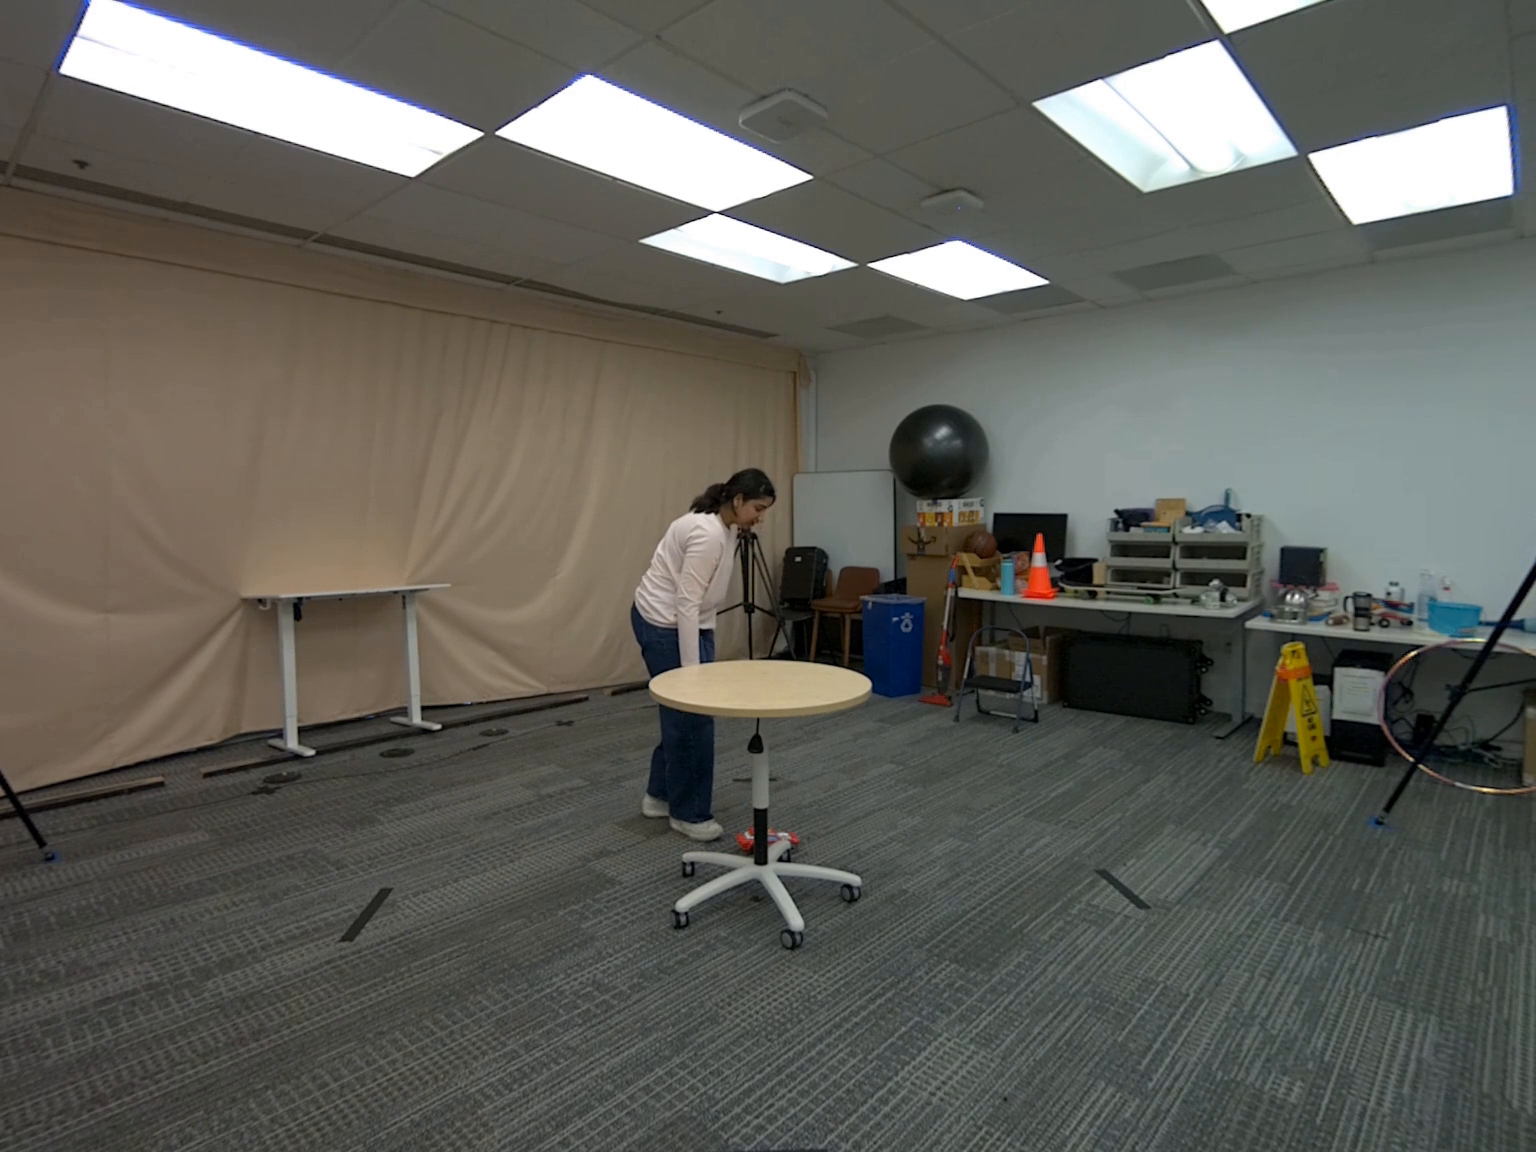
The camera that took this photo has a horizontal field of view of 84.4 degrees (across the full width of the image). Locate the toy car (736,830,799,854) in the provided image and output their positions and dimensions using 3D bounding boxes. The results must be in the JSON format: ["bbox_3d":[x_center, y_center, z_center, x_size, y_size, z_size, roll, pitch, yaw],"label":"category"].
[{"bbox_3d":[-0.011,1.074,3.408,0.251,0.083,0.132,11,1,-10],"label":"toy car"}]
